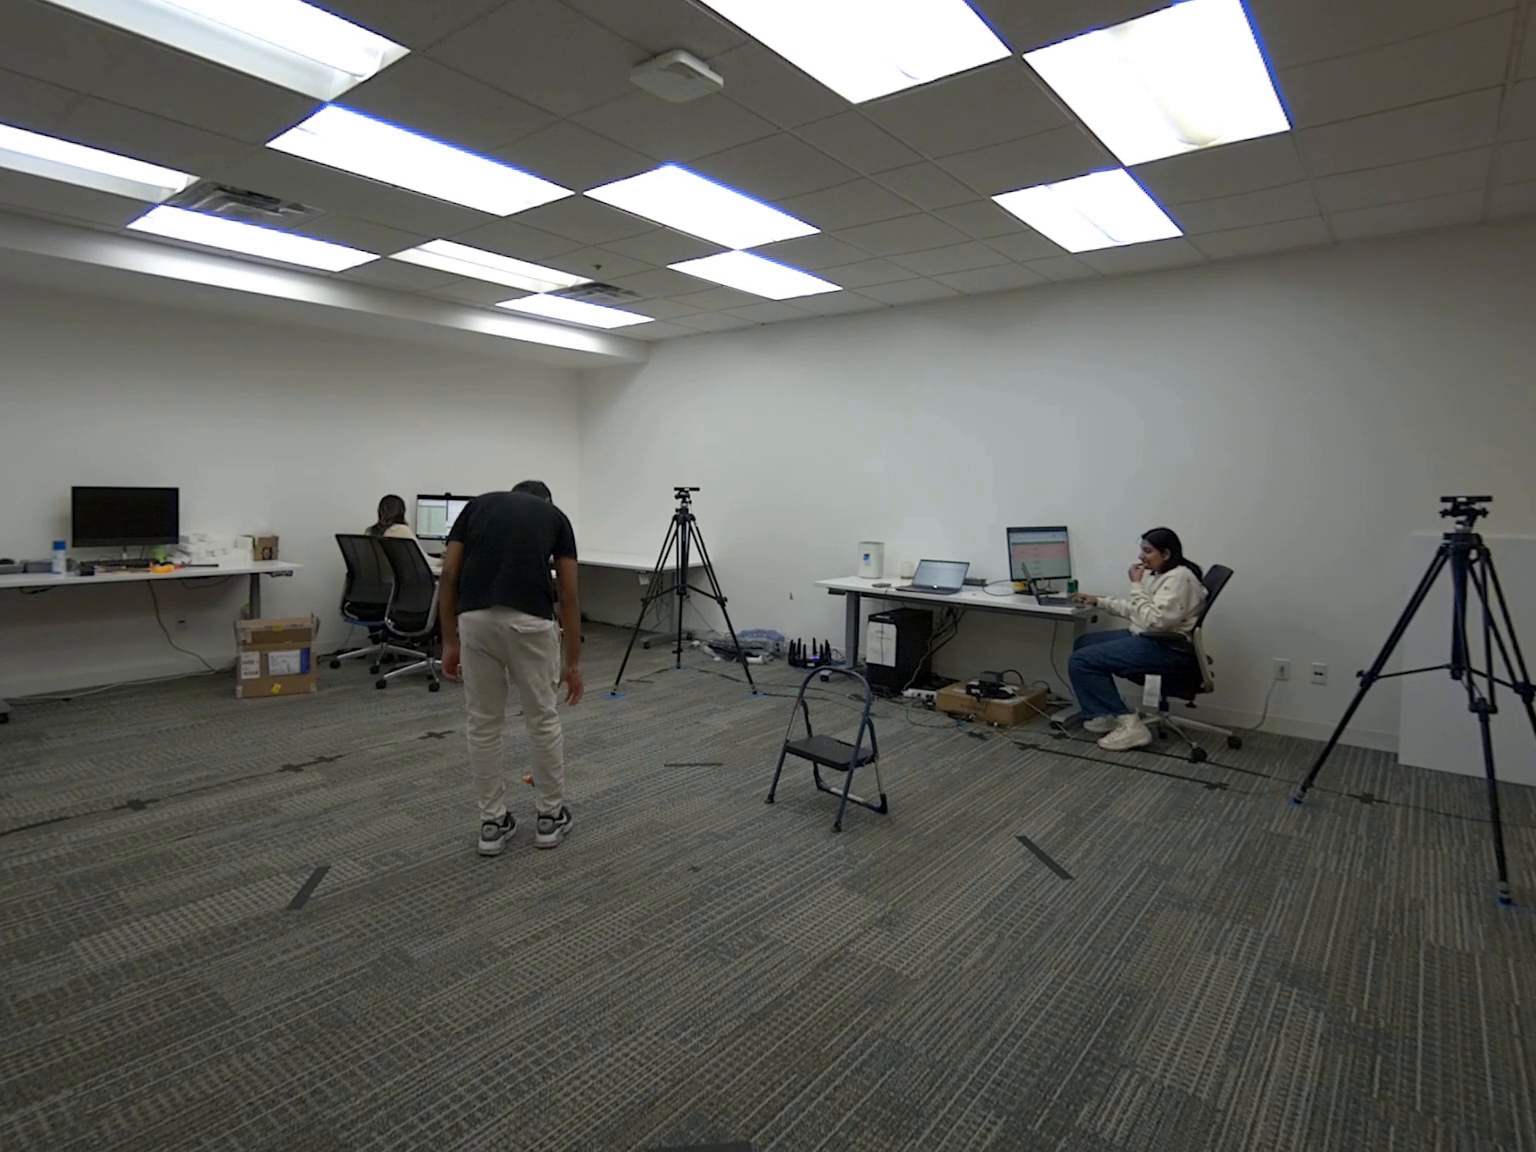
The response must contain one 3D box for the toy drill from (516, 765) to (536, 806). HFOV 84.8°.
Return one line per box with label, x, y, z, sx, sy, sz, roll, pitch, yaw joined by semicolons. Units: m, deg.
toy drill;-1.011;0.919;3.680;0.173;0.145;0.060;3;6;16
